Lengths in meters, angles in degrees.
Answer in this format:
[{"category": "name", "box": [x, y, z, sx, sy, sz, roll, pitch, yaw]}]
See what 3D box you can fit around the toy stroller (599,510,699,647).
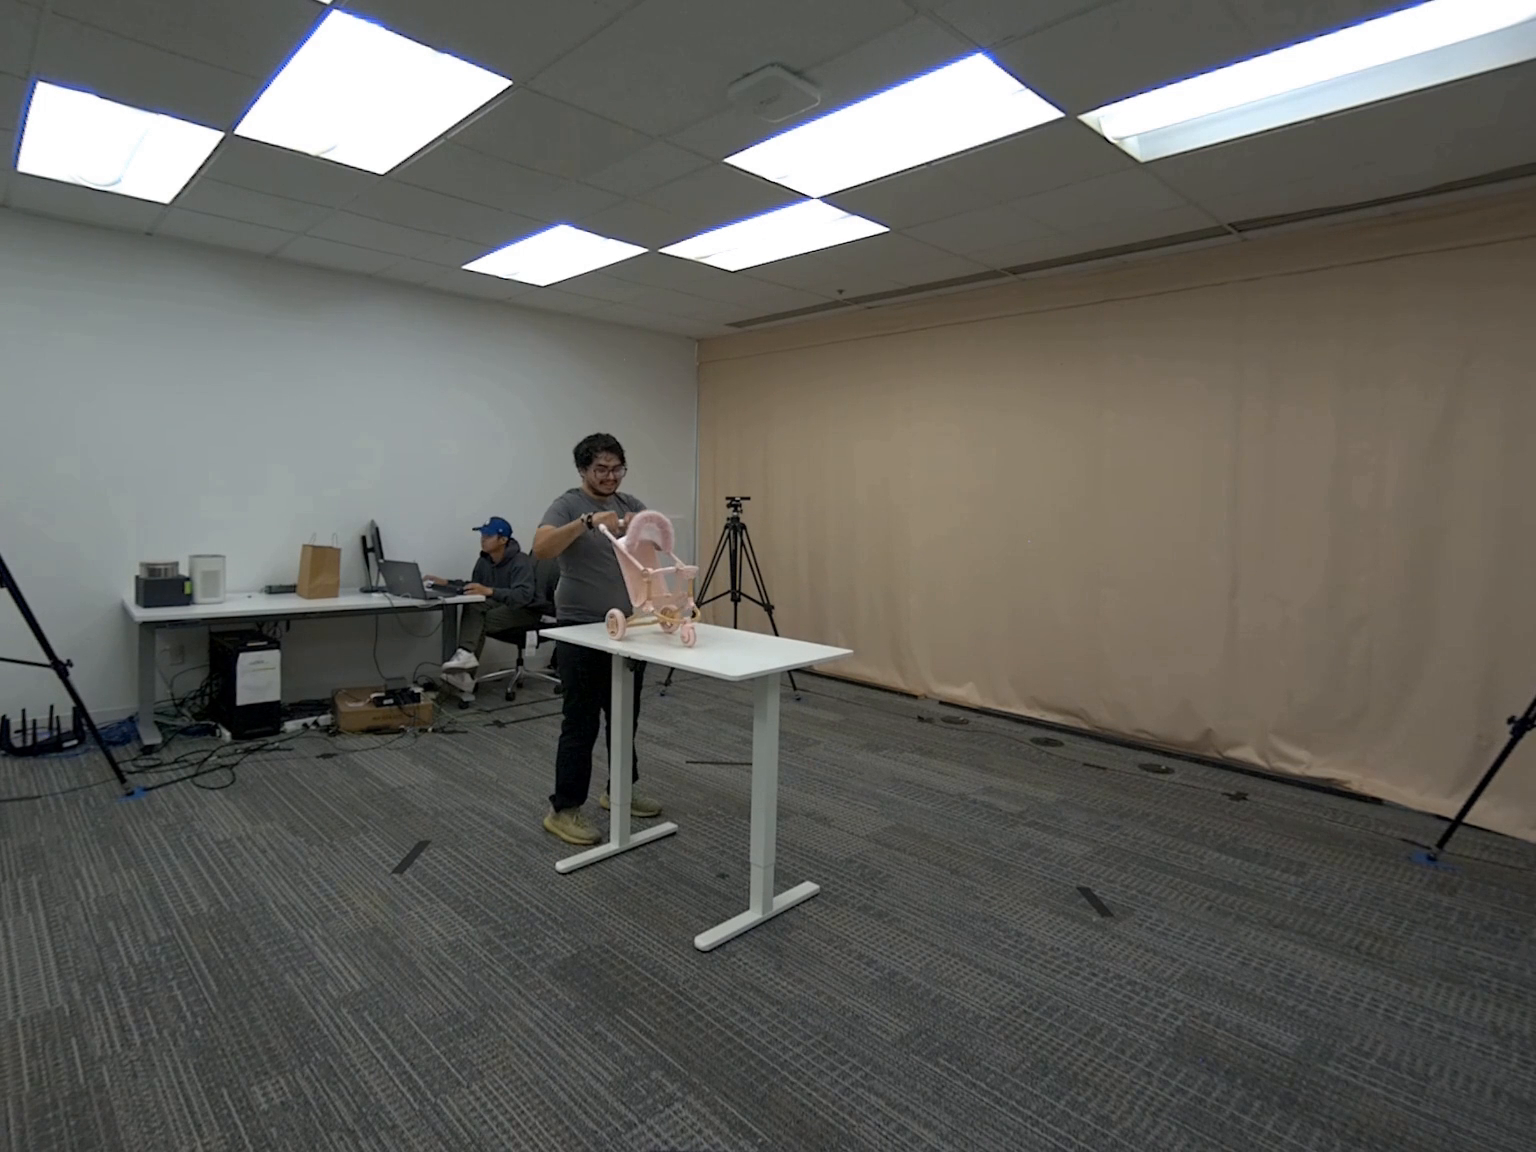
[{"category": "toy stroller", "box": [-0.411, 0.005, 2.996, 0.275, 0.539, 0.346, -1, -11, -41]}]
